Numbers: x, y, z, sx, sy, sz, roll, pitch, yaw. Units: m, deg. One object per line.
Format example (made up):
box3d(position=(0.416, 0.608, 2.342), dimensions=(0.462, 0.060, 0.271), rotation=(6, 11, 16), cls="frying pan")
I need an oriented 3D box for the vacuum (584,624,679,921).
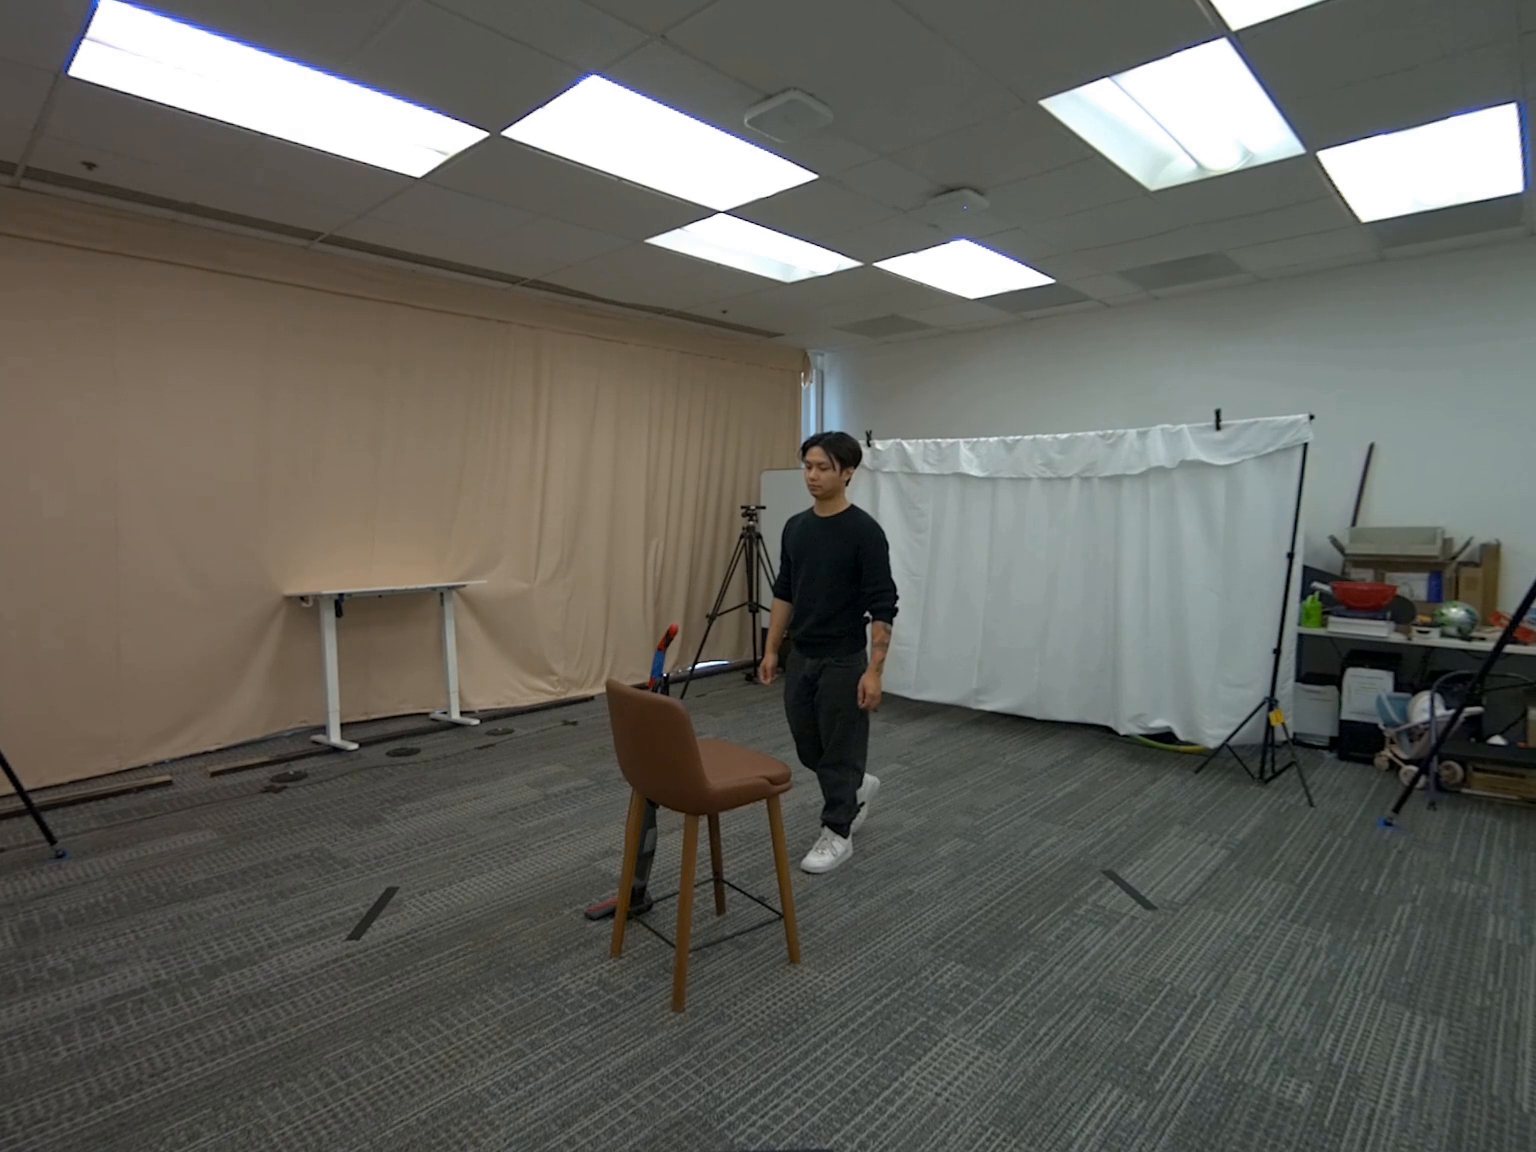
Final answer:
box3d(position=(-0.401, 0.658, 2.774), dimensions=(0.245, 1.043, 0.149), rotation=(-2, 18, -45), cls="vacuum")
